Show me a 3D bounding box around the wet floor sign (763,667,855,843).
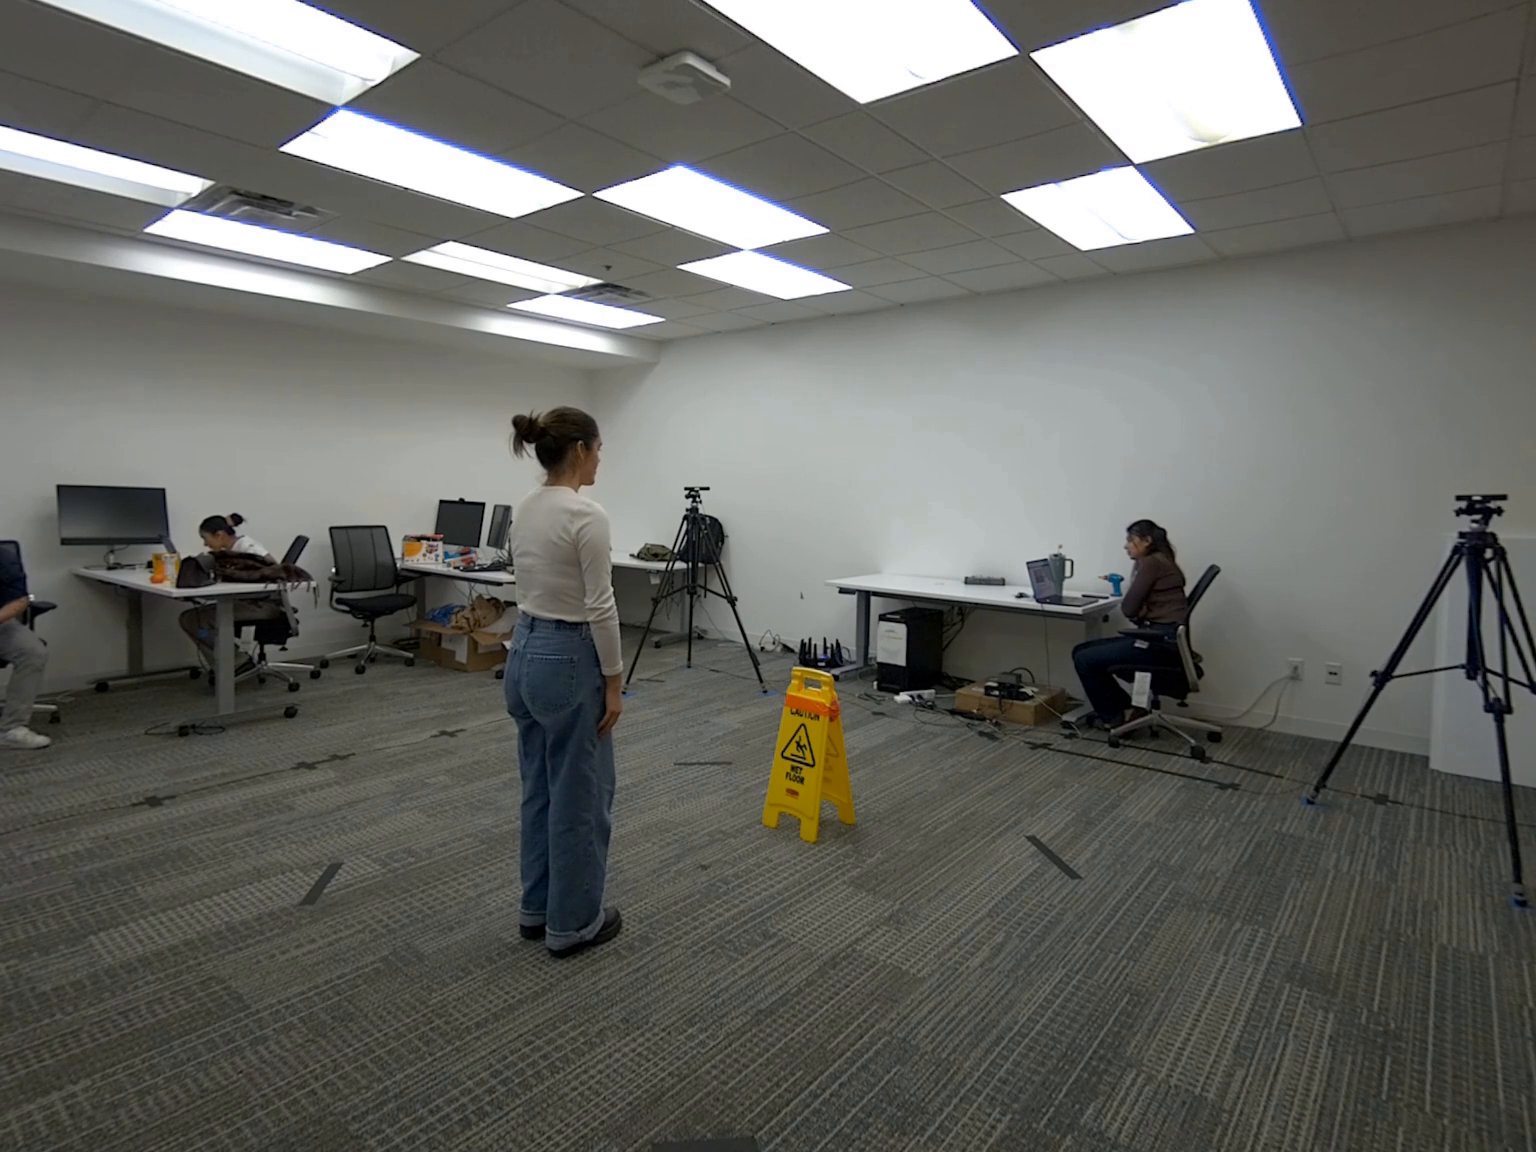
[{"bbox_3d":[0.171,0.706,3.530,0.292,0.644,0.281,5,4,41],"label":"wet floor sign"}]
